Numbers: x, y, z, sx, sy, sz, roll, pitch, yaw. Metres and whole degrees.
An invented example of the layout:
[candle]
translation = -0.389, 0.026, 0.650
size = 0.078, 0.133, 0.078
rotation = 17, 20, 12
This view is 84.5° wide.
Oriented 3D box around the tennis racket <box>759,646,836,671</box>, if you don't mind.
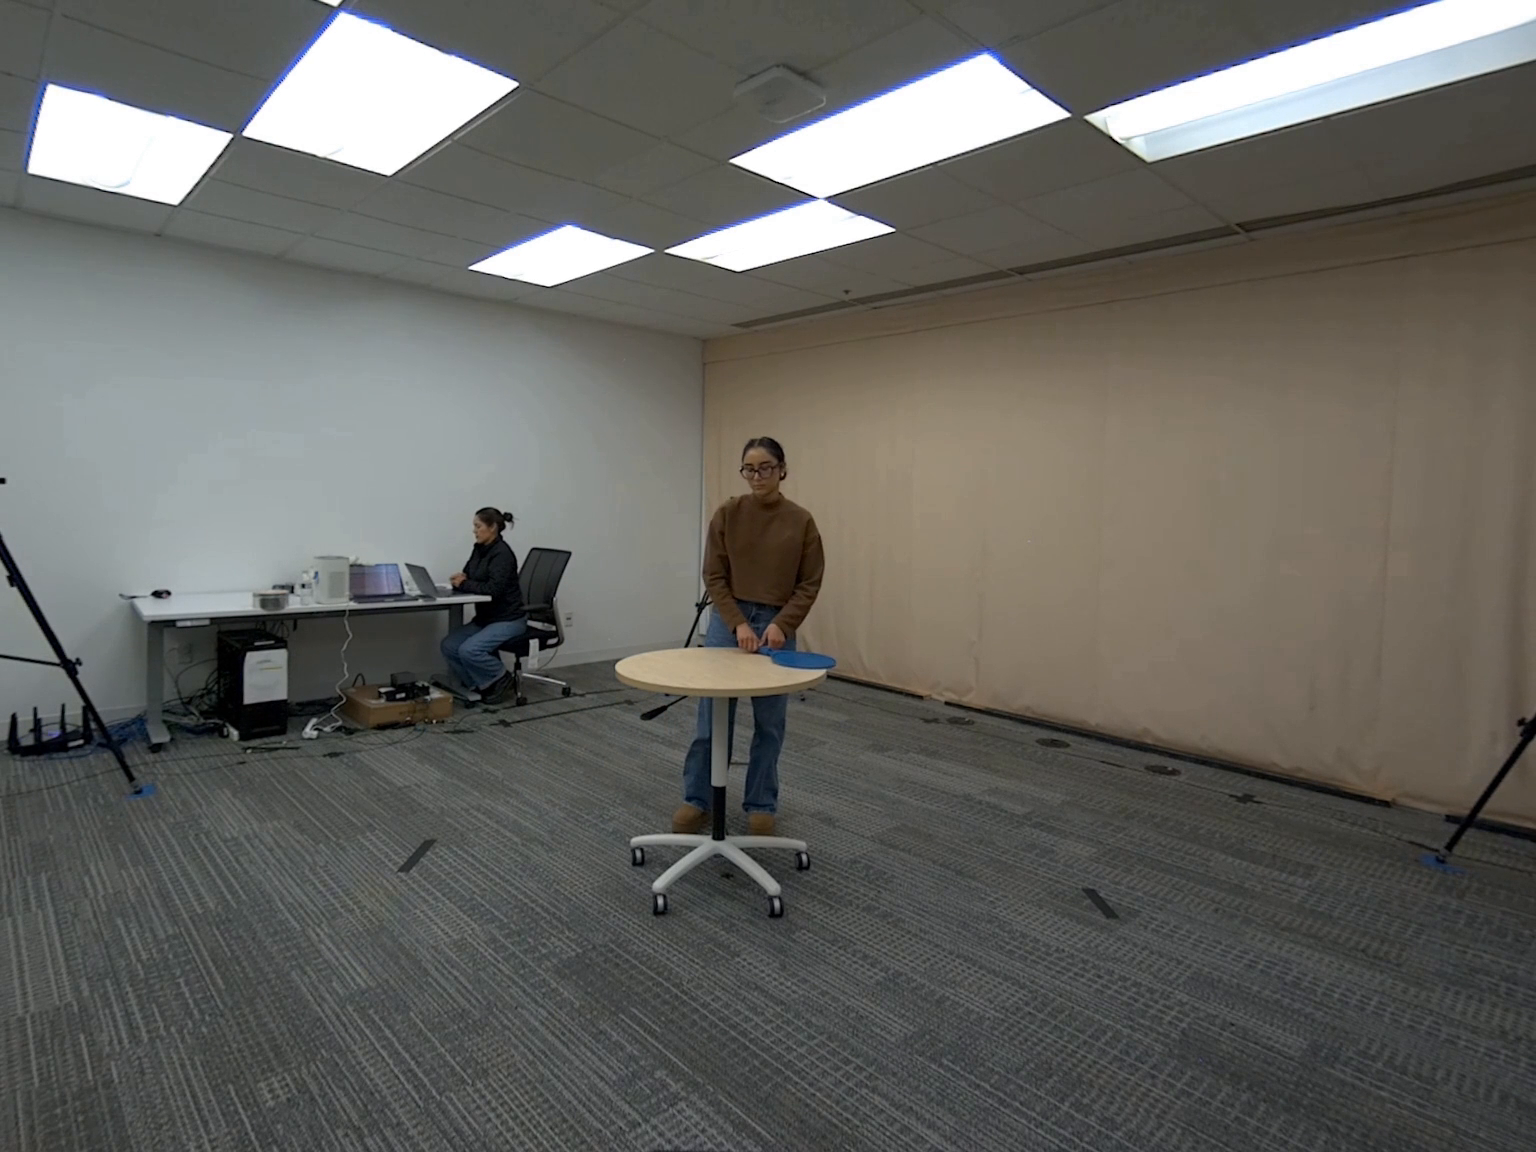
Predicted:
[tennis racket]
translation = 0.071, 0.313, 3.205
size = 0.209, 0.031, 0.444
rotation = -6, 9, -35
